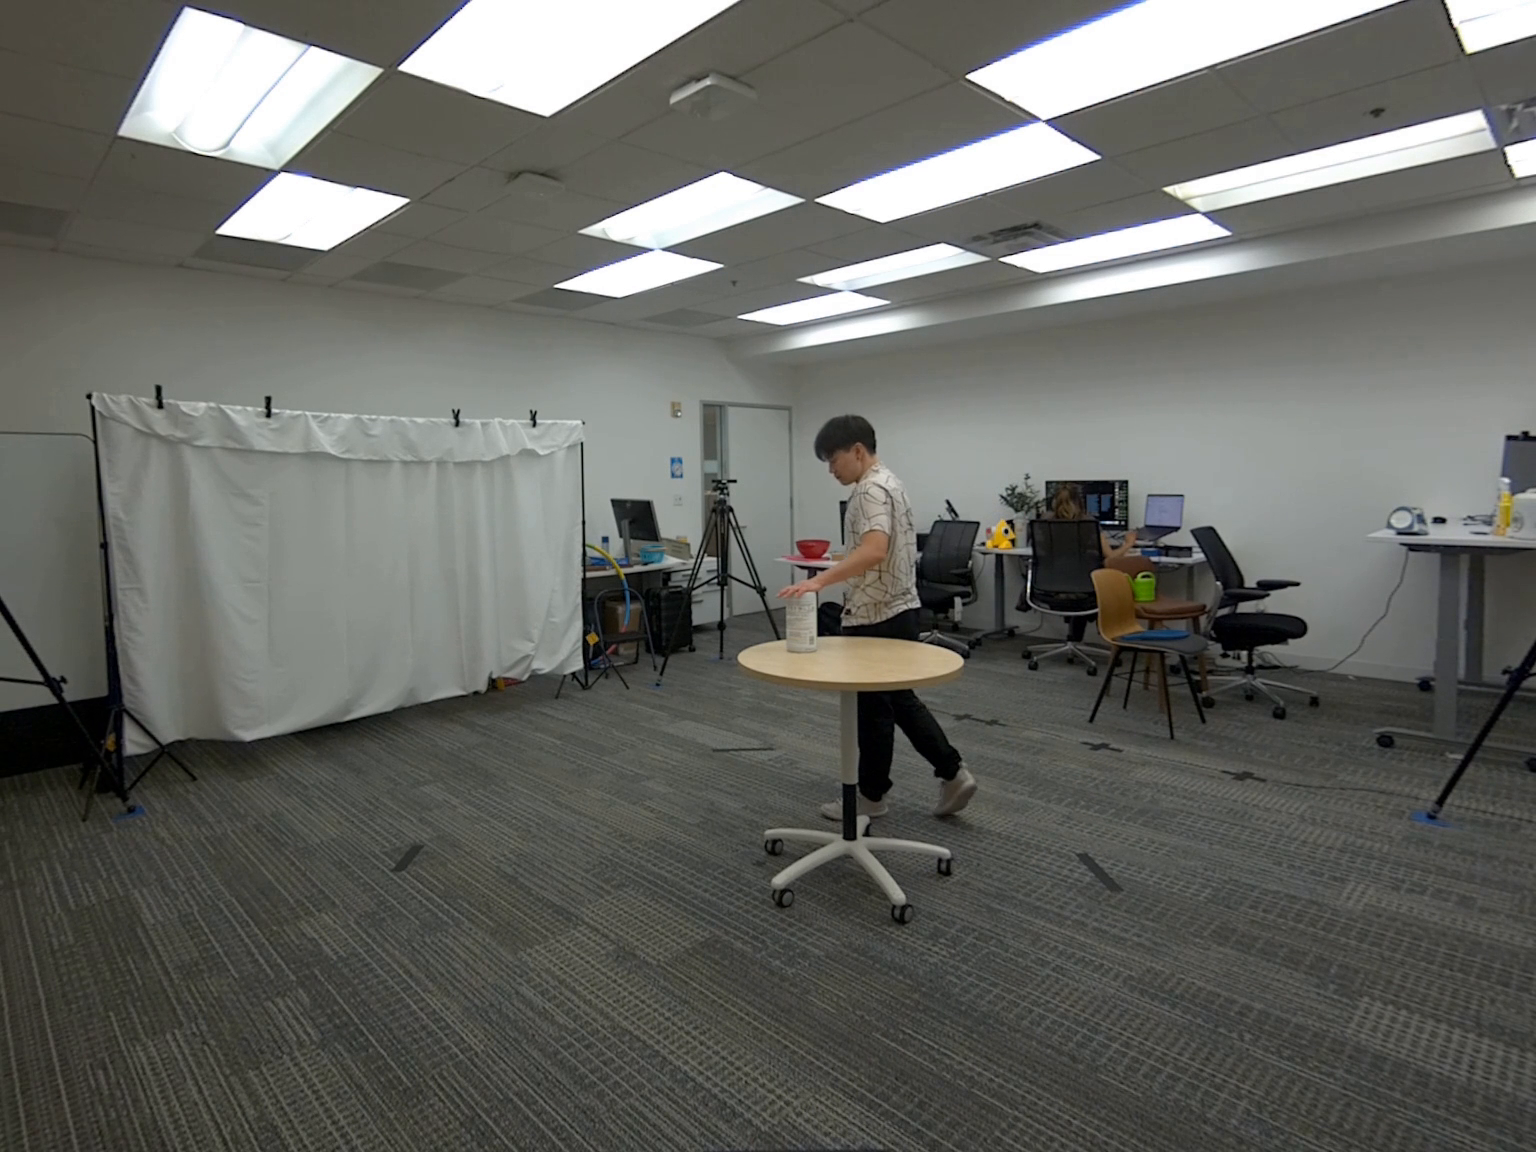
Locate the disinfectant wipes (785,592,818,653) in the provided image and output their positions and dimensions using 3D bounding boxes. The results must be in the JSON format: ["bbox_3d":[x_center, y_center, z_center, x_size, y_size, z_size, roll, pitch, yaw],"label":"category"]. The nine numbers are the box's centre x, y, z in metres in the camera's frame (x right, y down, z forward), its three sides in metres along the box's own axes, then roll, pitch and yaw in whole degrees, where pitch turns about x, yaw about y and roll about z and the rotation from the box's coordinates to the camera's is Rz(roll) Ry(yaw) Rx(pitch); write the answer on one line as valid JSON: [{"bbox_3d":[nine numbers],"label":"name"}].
[{"bbox_3d":[0.126,0.166,3.063,0.118,0.217,0.118,-1,2,-2],"label":"disinfectant wipes"}]
